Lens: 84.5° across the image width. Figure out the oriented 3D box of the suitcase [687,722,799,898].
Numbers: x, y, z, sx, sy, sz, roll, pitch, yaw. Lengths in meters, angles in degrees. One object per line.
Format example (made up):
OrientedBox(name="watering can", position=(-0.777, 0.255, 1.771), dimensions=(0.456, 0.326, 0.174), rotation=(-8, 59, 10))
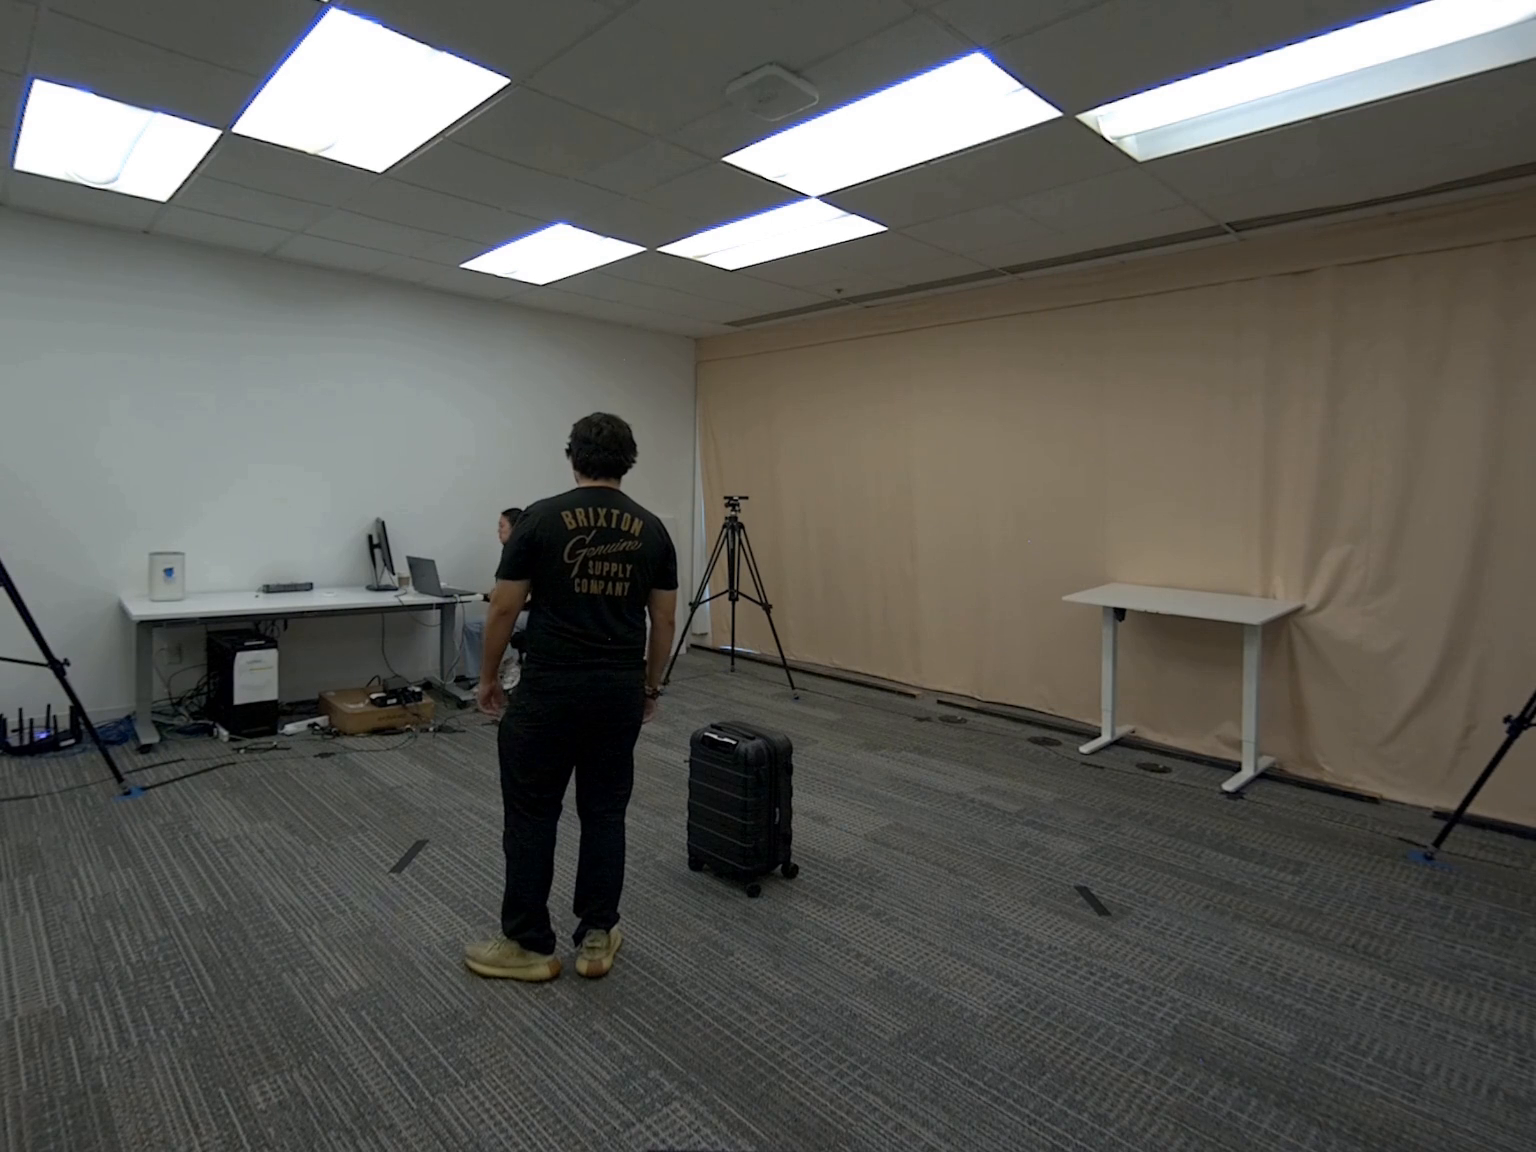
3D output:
OrientedBox(name="suitcase", position=(-0.108, 0.829, 3.109), dimensions=(0.385, 0.548, 0.243), rotation=(4, 5, 44))
